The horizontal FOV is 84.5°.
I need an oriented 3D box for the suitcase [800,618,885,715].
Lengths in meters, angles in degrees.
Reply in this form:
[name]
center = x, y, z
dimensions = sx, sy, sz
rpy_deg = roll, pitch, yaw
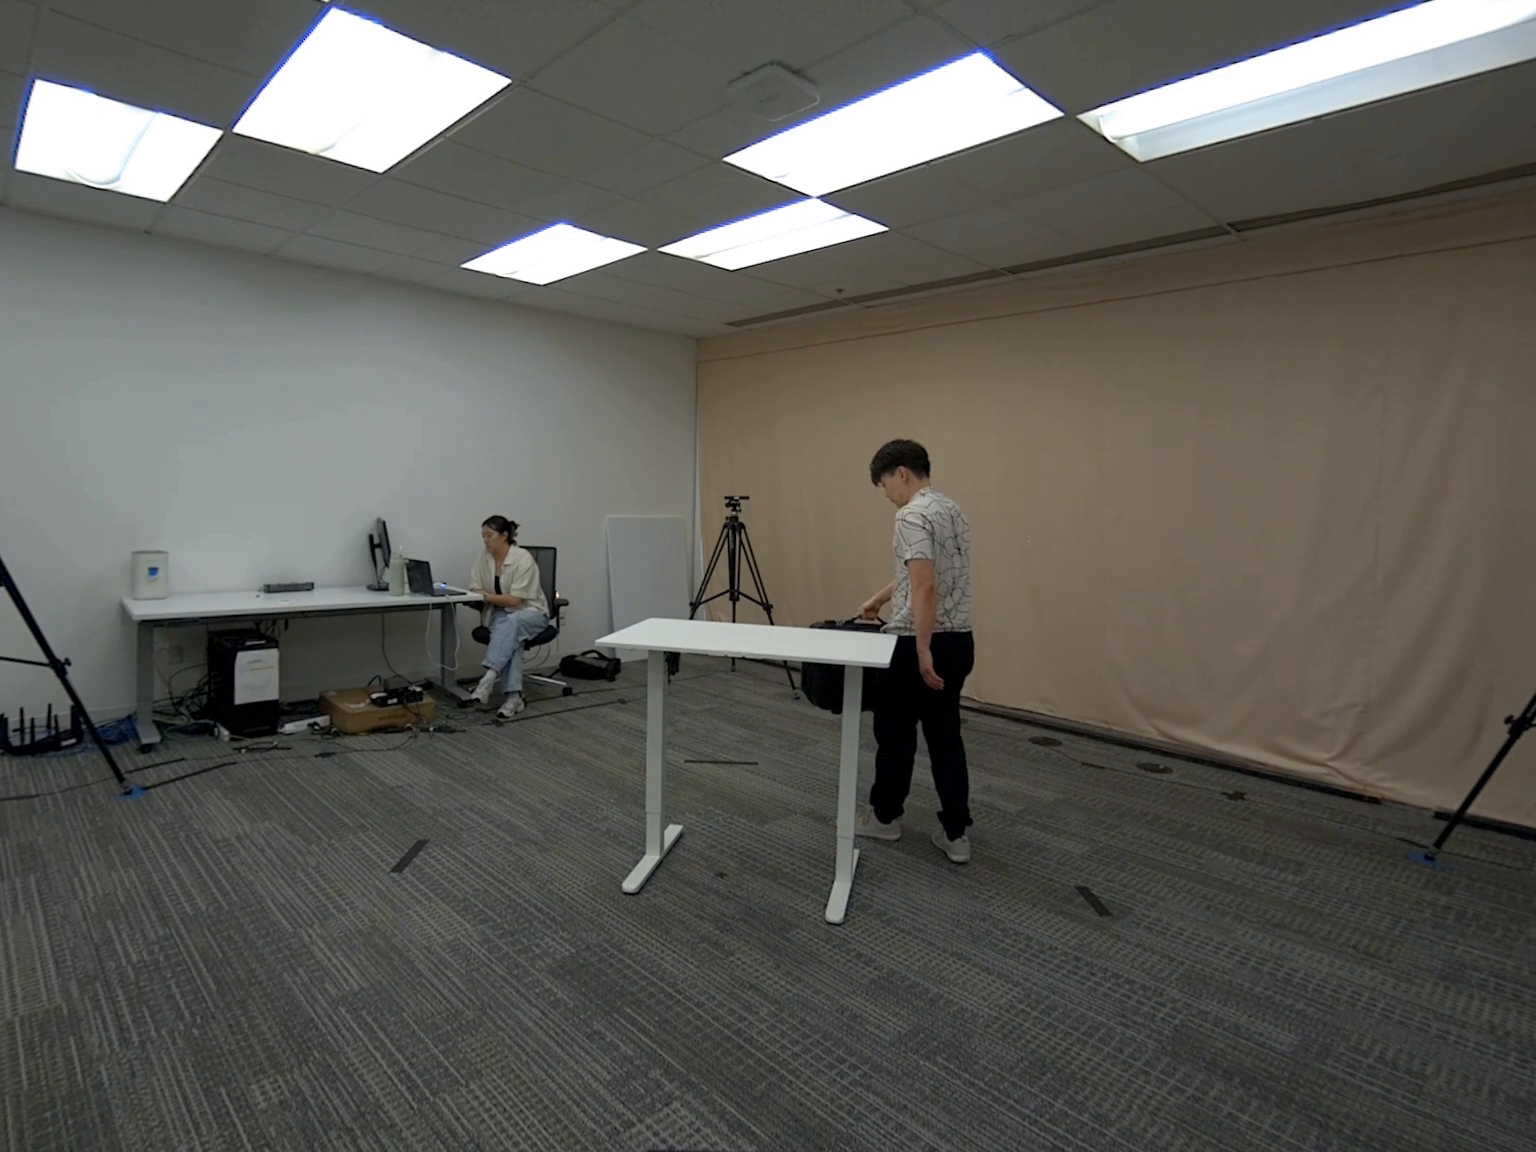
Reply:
[suitcase]
center = 0.420, 0.394, 3.686
dimensions = 0.541, 0.373, 0.253
rpy_deg = 4, 9, -17
